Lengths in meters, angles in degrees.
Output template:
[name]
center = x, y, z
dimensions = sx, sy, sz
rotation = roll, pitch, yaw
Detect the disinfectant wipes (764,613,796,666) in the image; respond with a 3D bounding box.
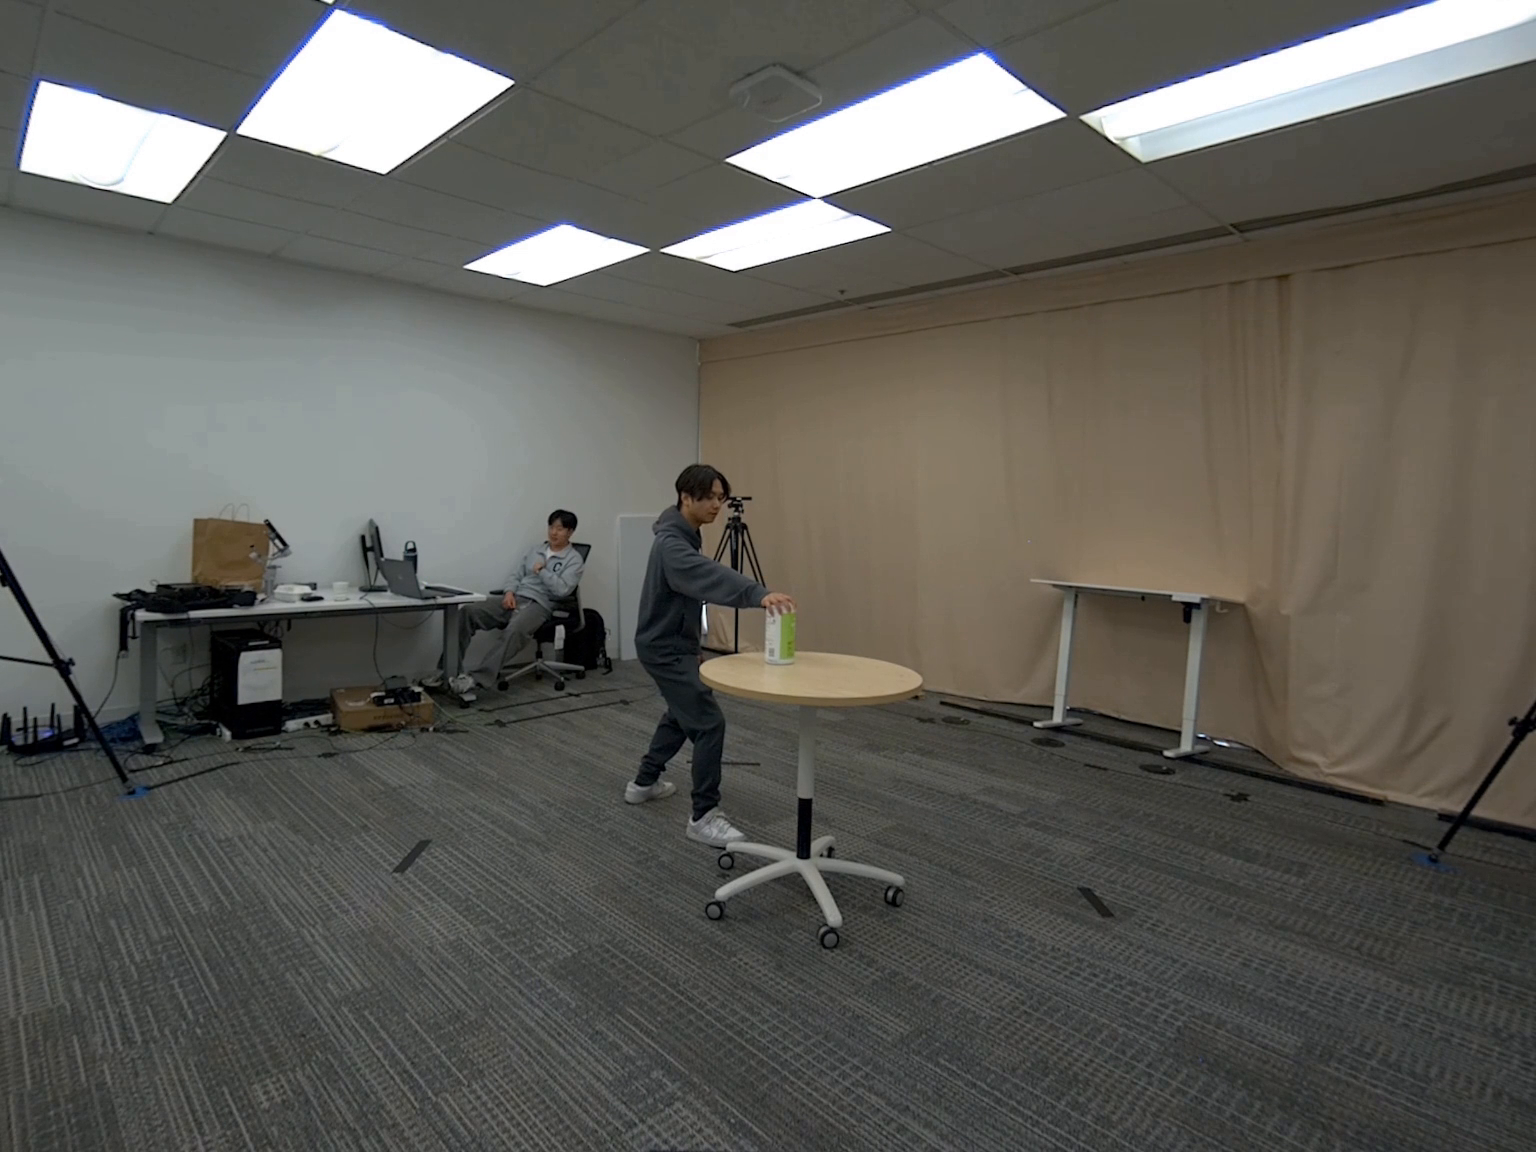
[disinfectant wipes]
center = 0.037, 0.209, 3.060
dimensions = 0.118, 0.217, 0.118
rotation = 0, 3, -1
